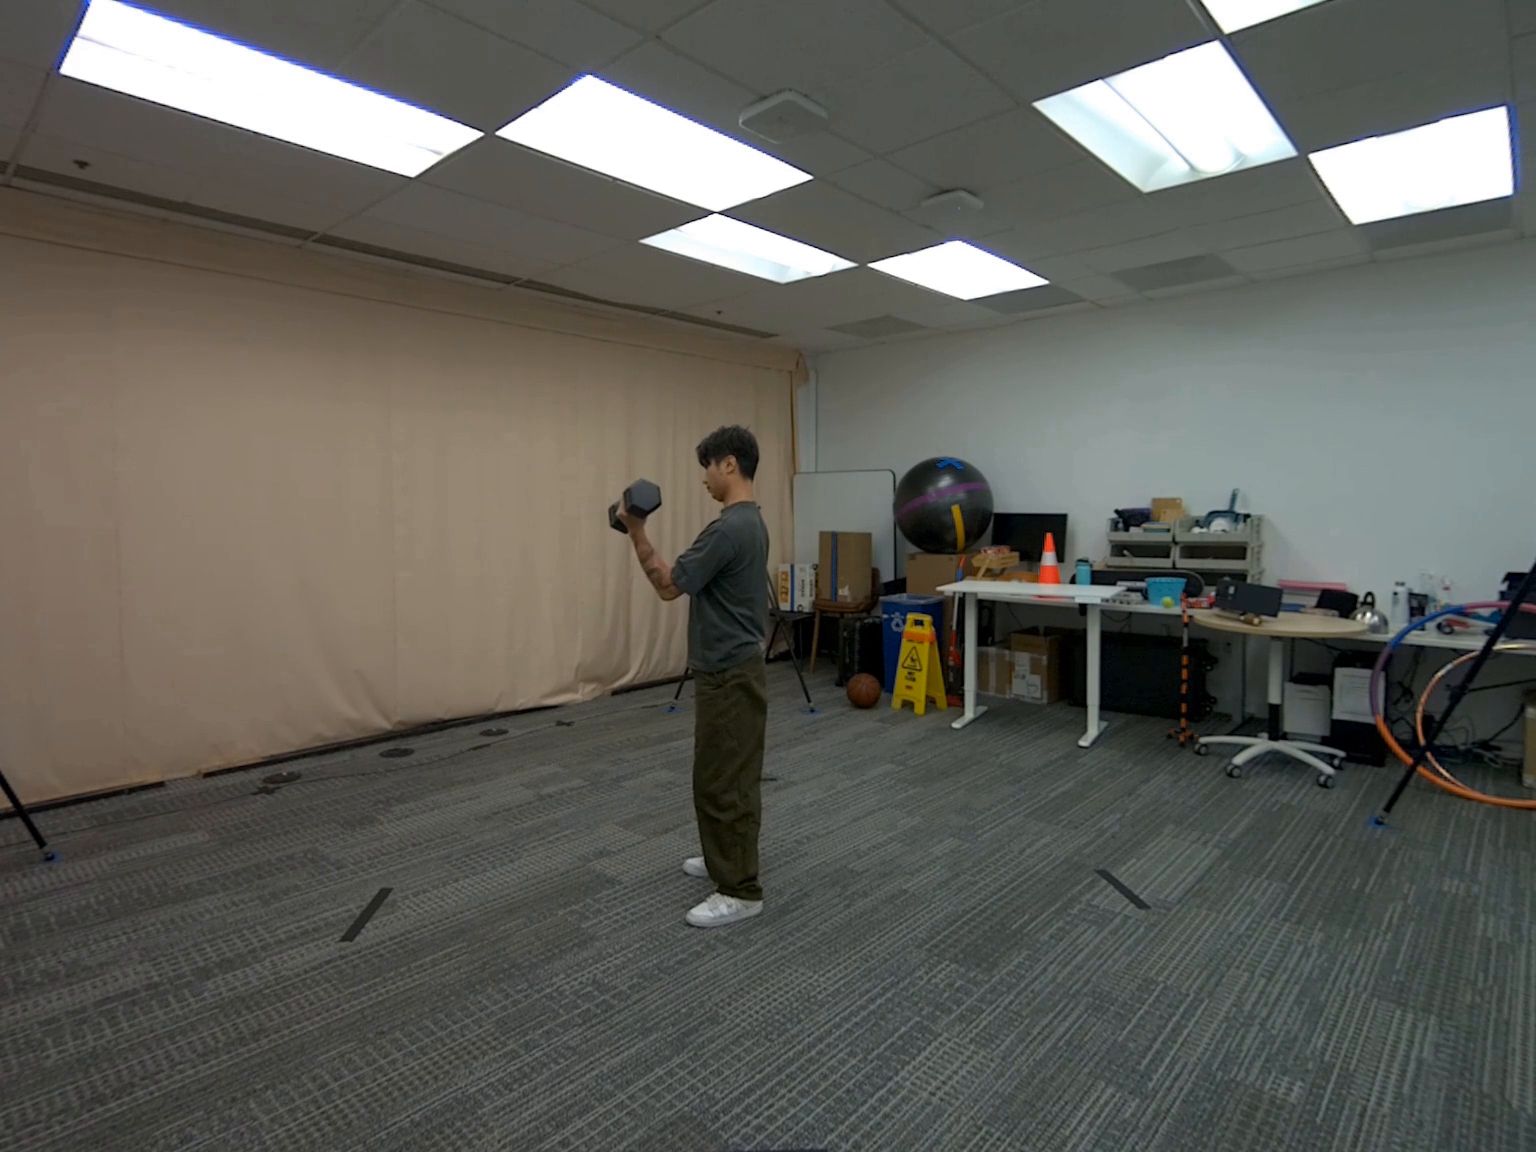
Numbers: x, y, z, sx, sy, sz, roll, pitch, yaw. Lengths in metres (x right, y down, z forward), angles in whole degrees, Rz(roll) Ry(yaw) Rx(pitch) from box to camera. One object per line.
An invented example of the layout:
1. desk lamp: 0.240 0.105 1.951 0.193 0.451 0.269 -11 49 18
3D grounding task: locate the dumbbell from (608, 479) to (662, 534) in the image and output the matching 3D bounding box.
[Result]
1. dumbbell: -0.441 -0.222 2.760 0.122 0.108 0.298 -39 5 -25
